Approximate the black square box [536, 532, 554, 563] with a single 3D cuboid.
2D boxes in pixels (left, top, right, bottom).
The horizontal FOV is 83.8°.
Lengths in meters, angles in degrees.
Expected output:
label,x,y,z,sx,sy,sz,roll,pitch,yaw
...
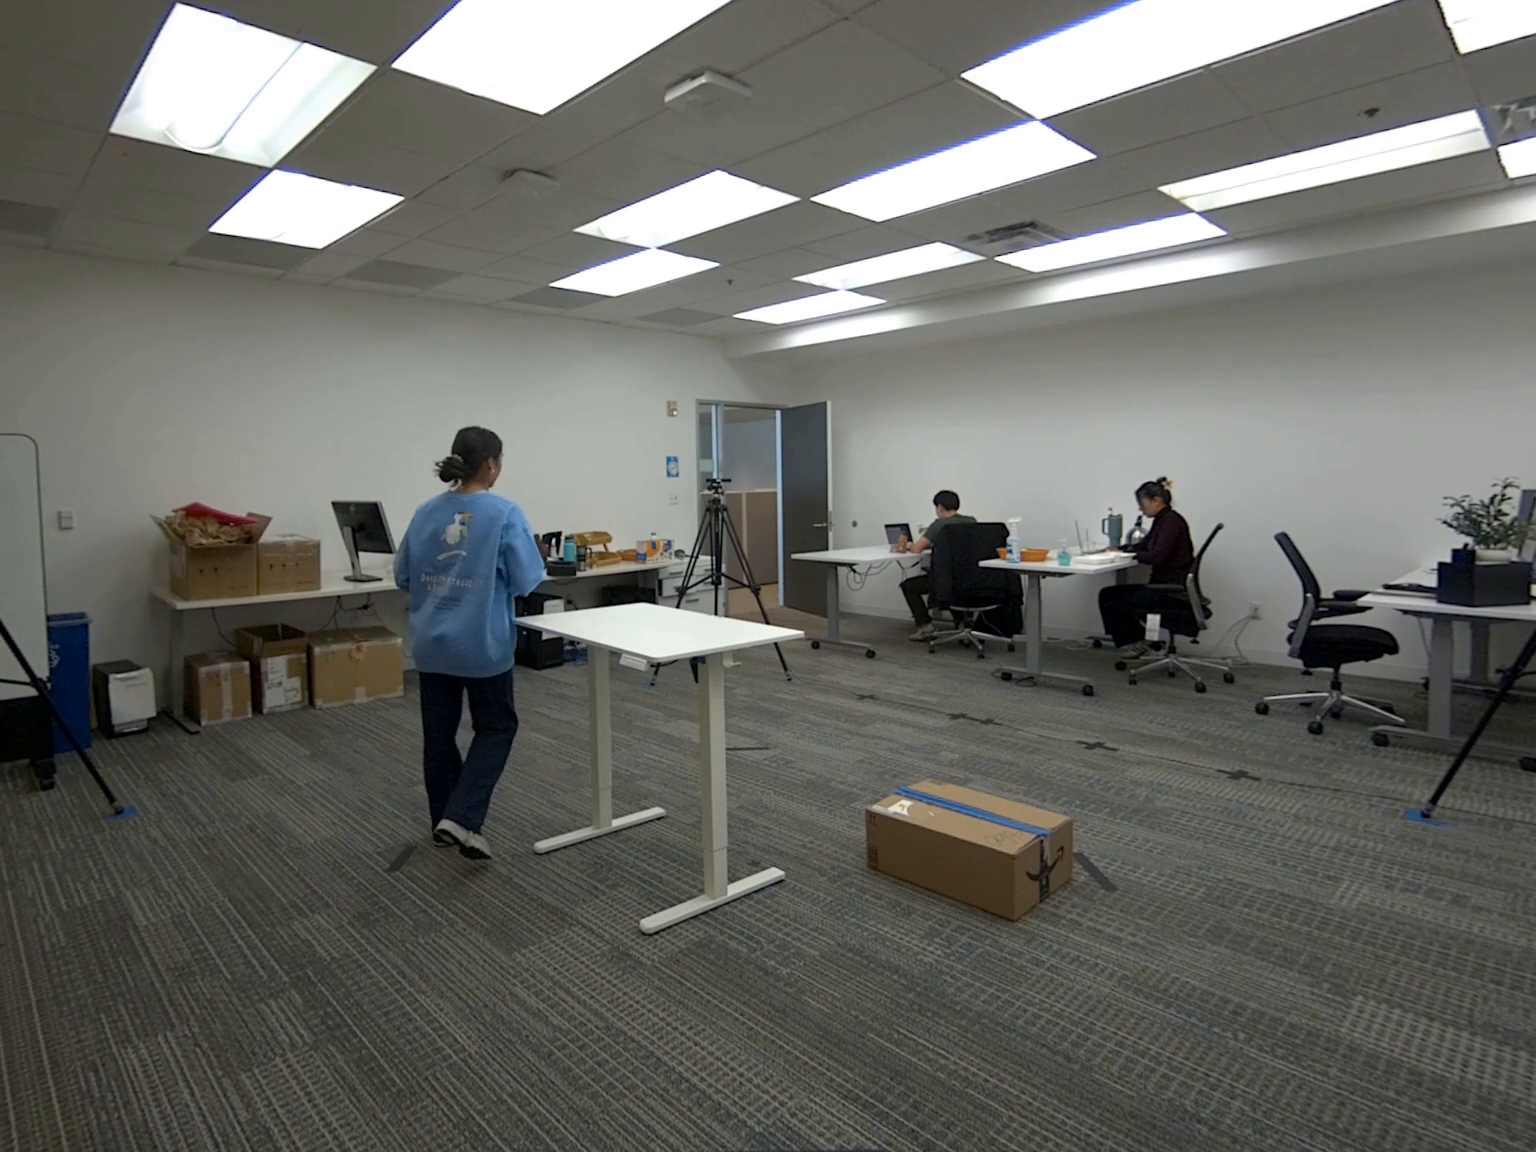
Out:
label,x,y,z,sx,sy,sz,roll,pitch,yaw
black square box,-1.078,-0.052,3.511,0.220,0.153,0.228,-3,17,17
